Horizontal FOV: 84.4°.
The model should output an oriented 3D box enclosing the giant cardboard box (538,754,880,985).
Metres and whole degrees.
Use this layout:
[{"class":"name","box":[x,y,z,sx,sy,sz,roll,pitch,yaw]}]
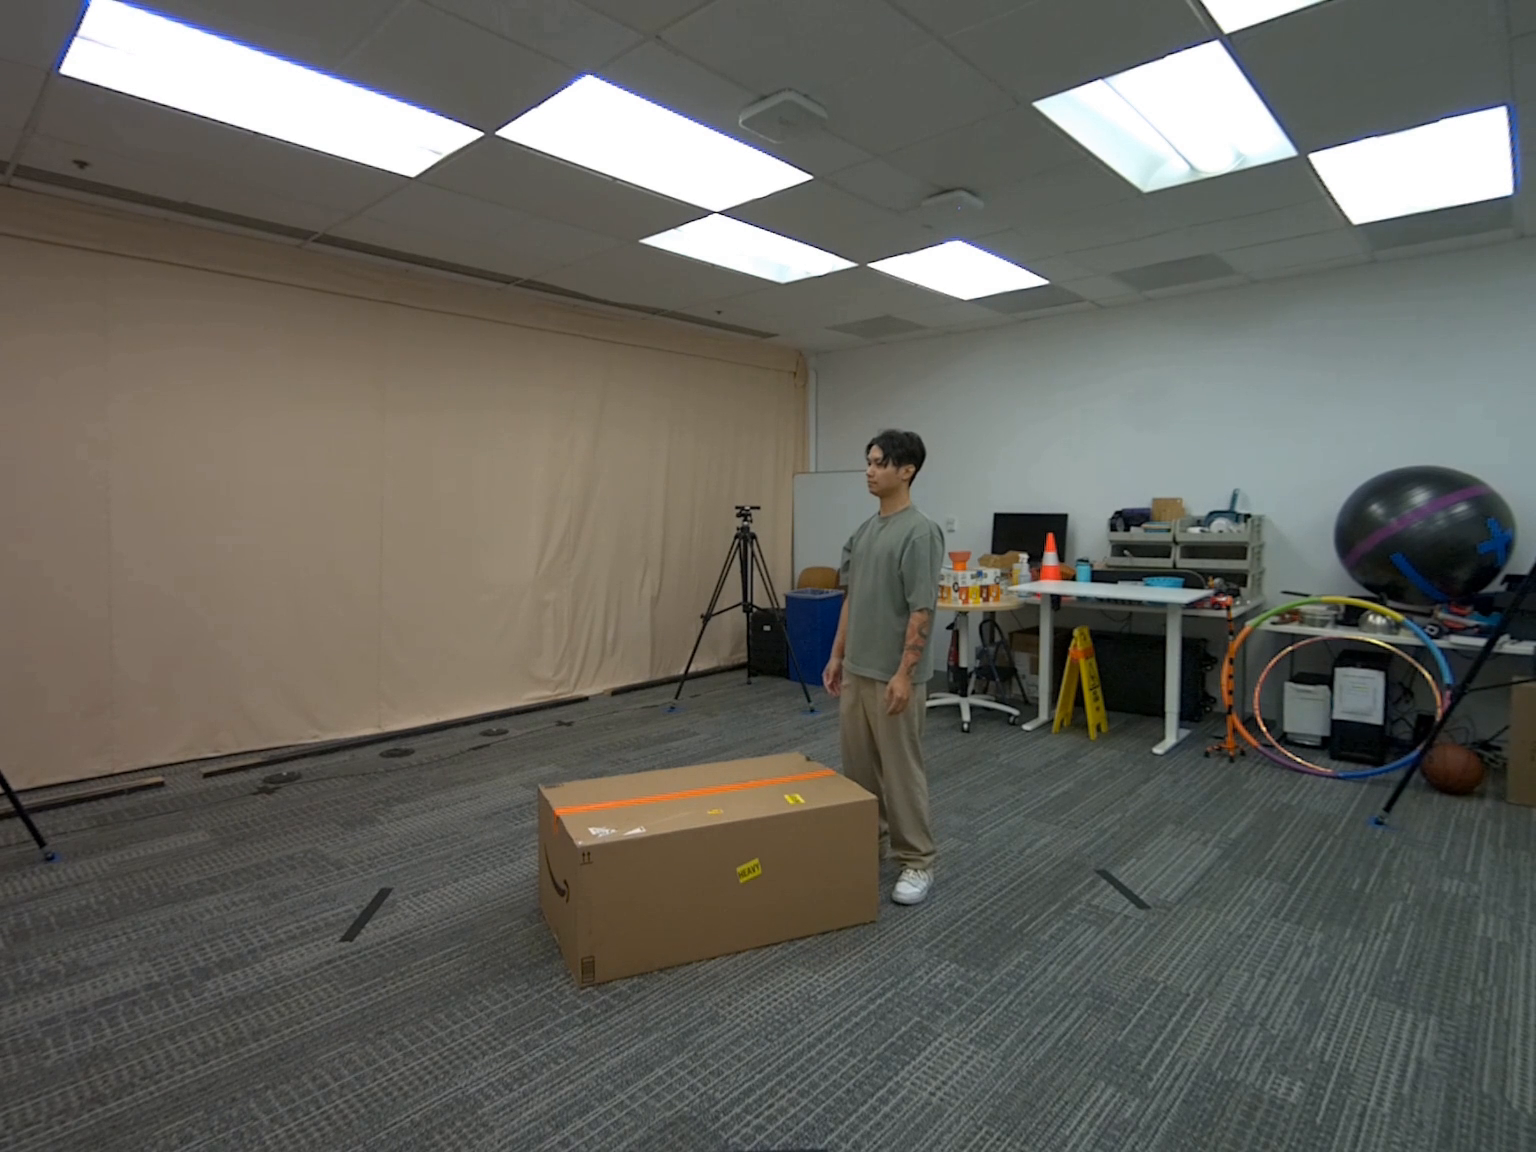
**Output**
[{"class":"giant cardboard box","box":[-0.216,0.941,2.869,1.002,0.425,0.592,-2,4,-24]}]
